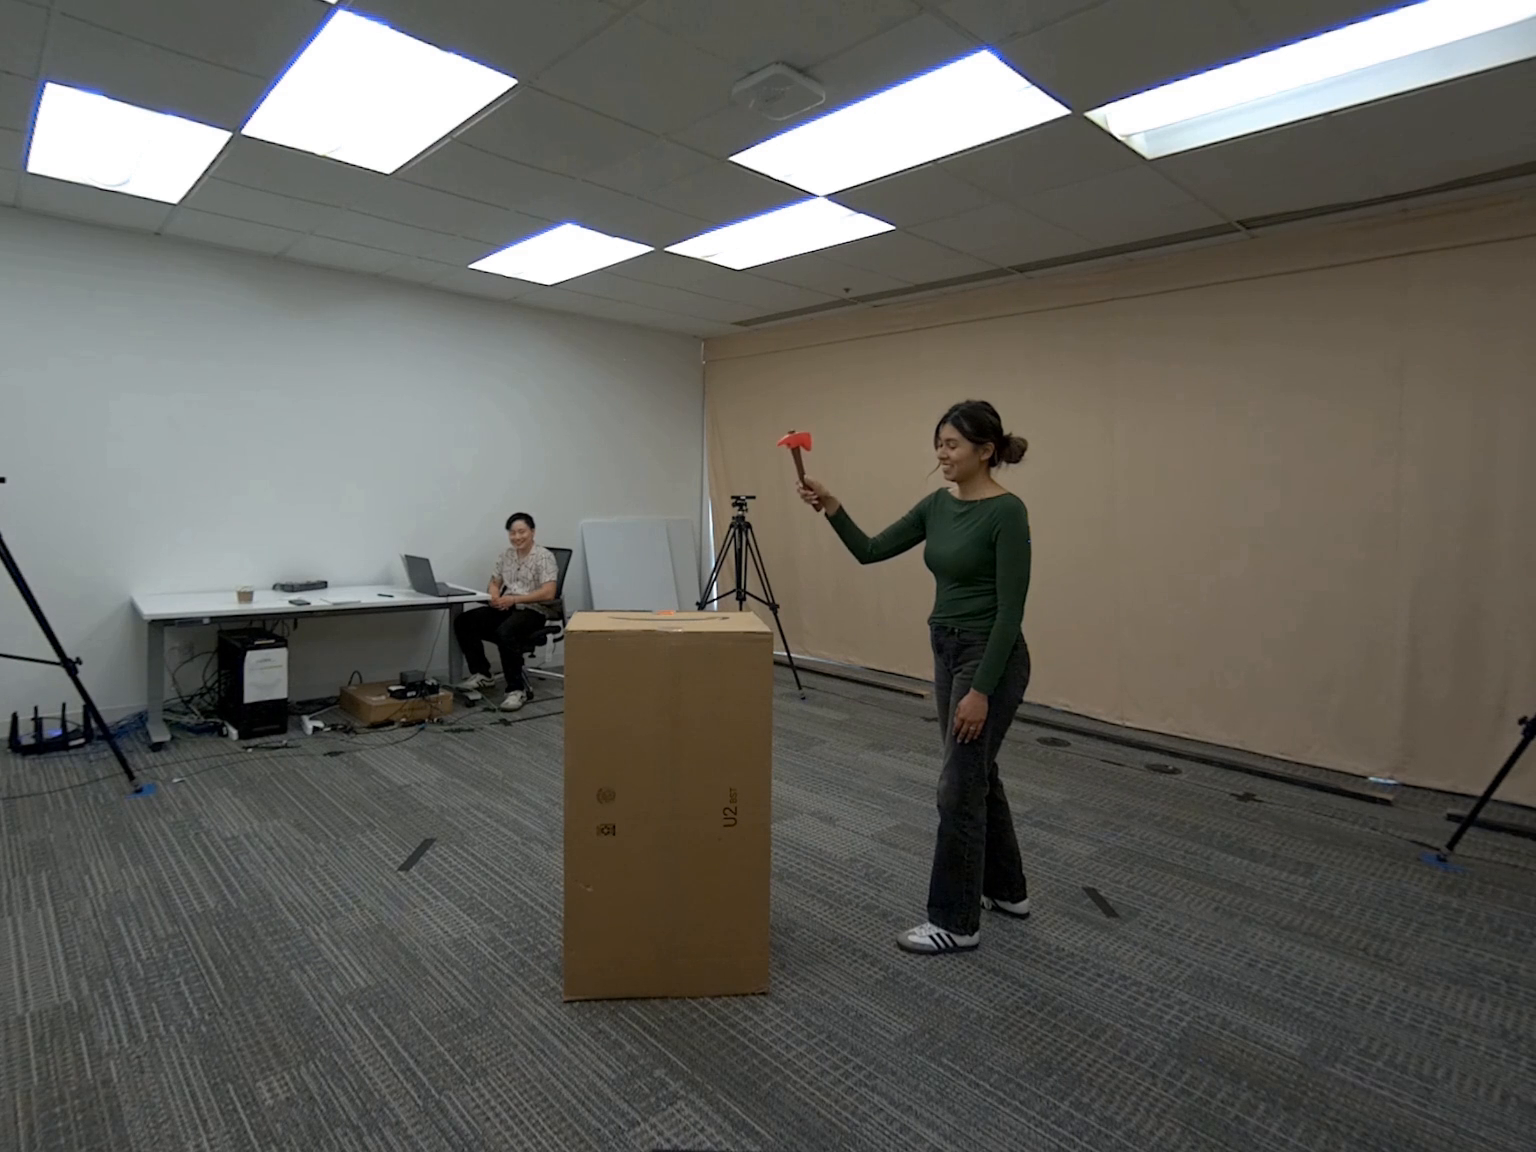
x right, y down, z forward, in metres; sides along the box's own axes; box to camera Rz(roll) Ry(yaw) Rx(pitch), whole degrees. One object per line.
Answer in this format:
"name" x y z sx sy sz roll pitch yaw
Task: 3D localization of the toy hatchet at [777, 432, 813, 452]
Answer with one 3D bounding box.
"toy hatchet" 0.134 -0.340 2.671 0.131 0.265 0.030 -44 19 -26
